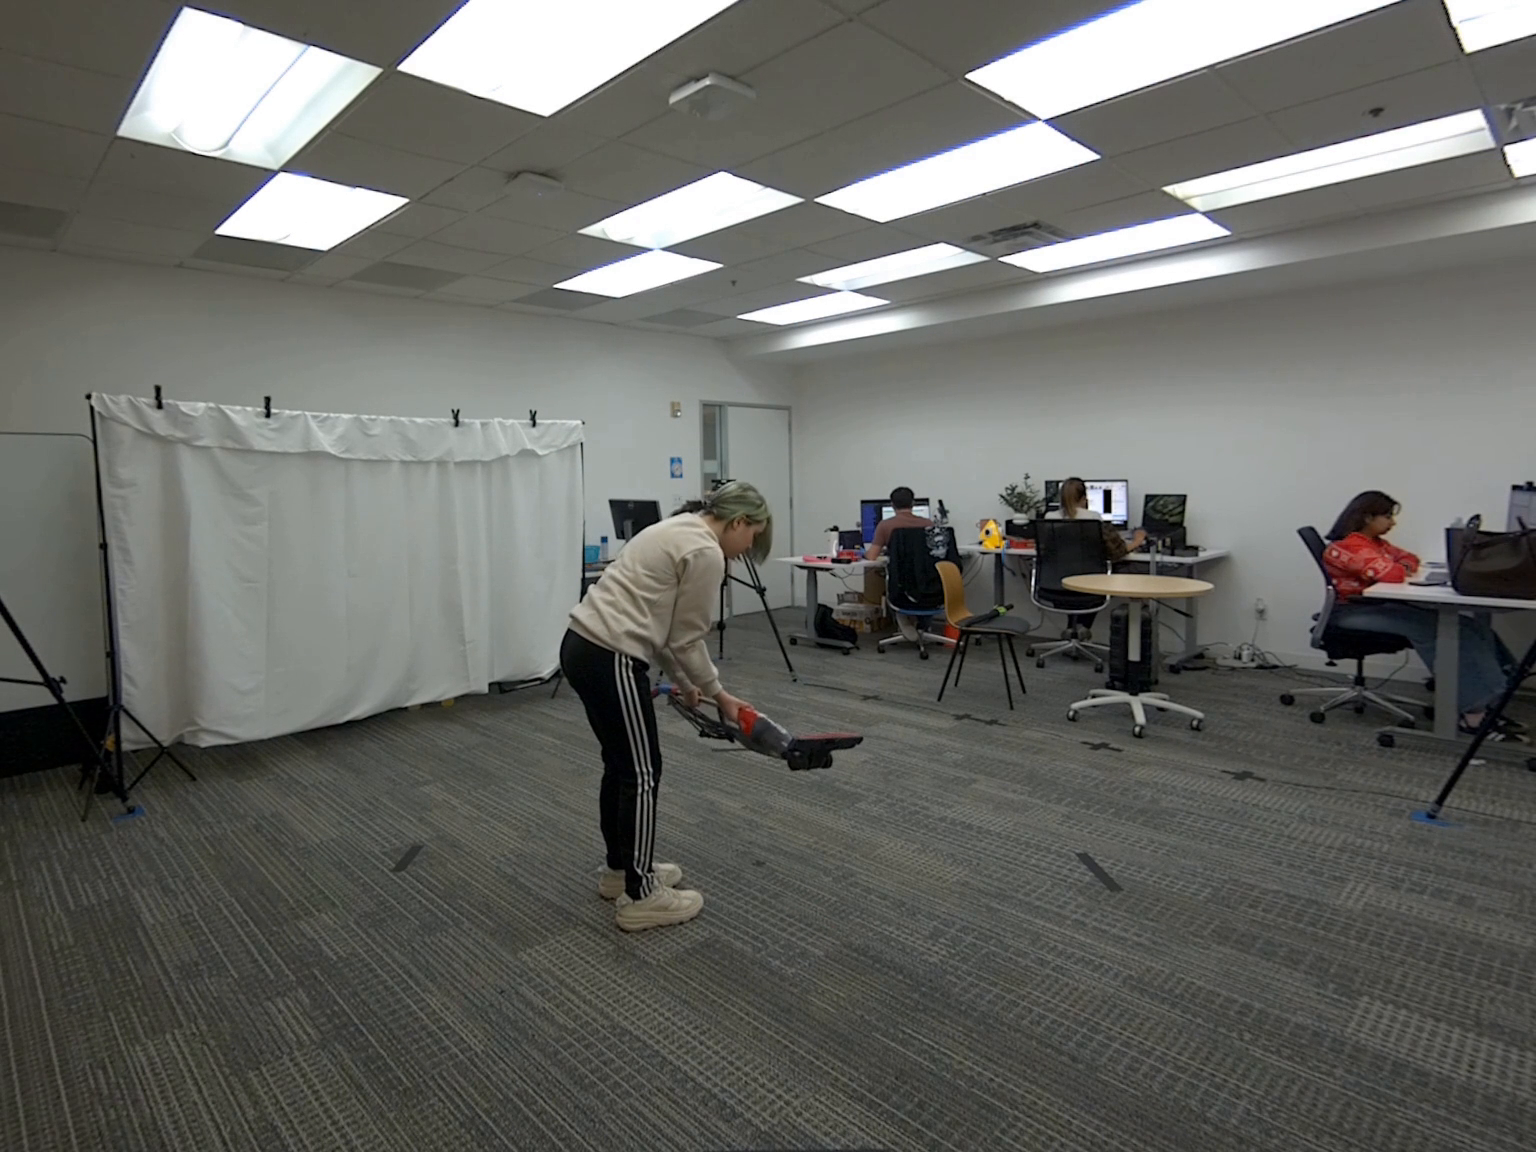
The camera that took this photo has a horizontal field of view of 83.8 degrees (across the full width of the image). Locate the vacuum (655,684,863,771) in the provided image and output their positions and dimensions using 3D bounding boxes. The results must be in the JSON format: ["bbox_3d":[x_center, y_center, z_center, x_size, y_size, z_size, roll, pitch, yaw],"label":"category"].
[{"bbox_3d":[-0.157,0.487,2.891,0.245,0.144,1.078,11,-4,-35],"label":"vacuum"}]
